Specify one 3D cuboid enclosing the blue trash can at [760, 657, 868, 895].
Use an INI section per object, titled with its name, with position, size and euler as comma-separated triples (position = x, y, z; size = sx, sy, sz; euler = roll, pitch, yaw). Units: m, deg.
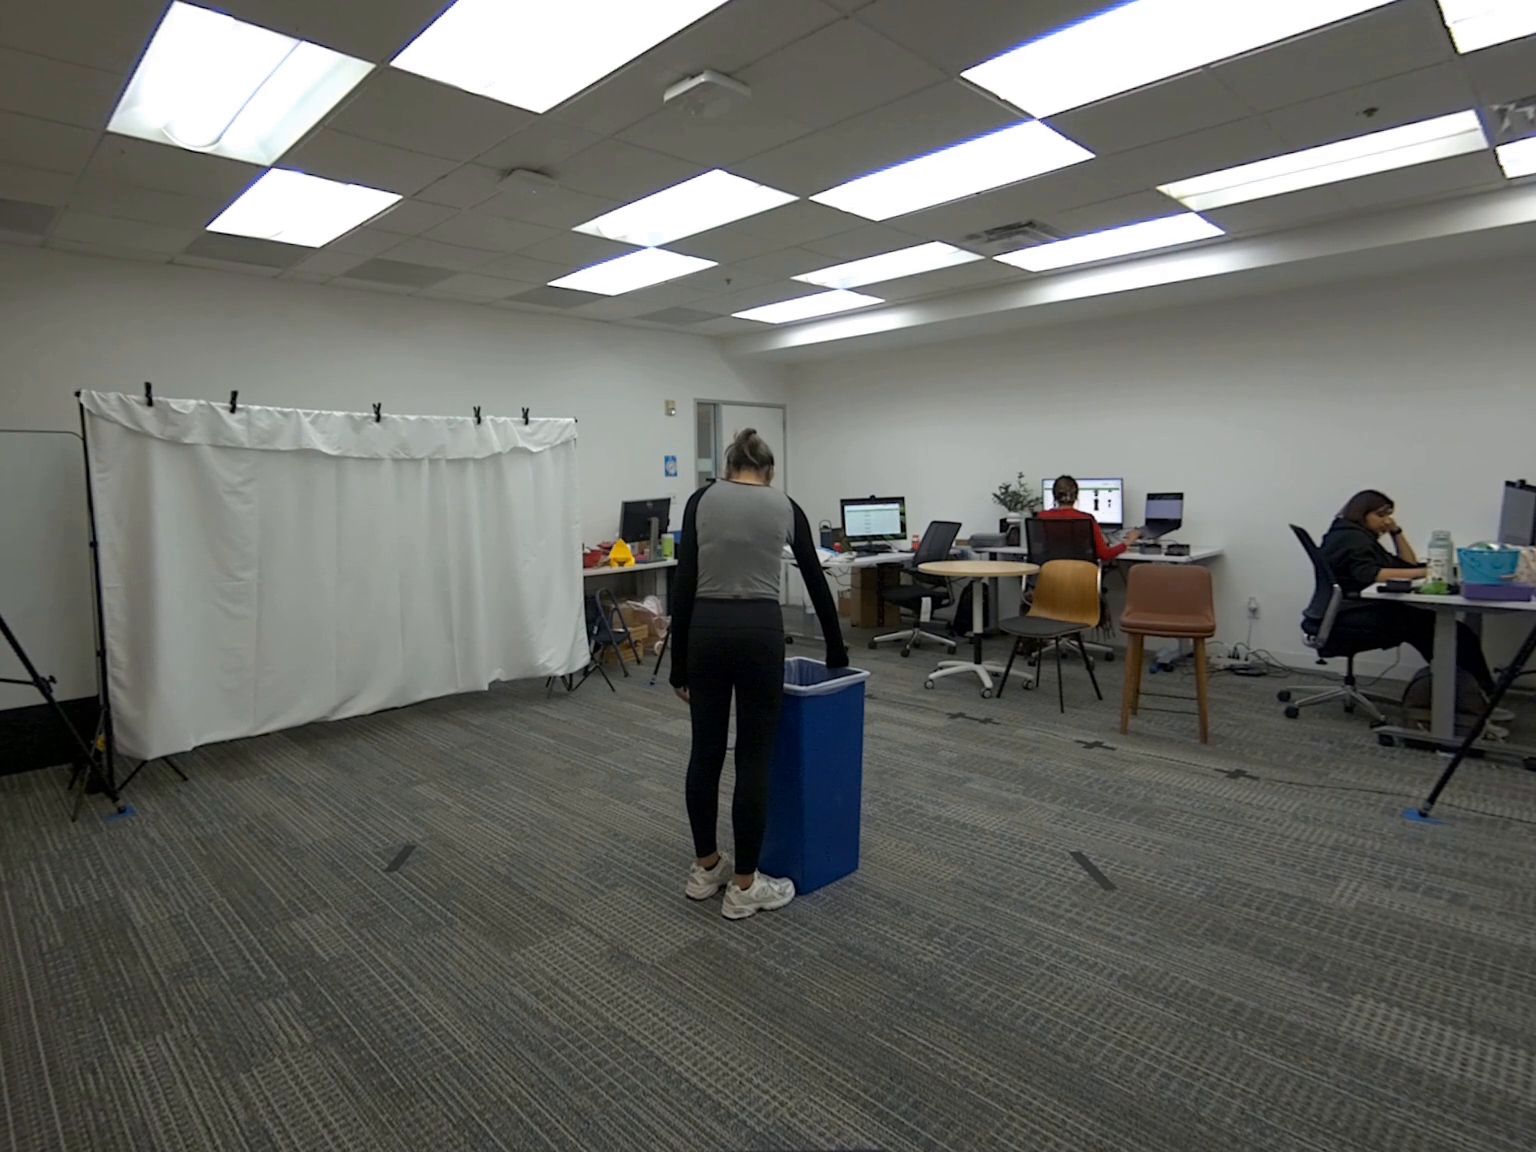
[blue trash can]
position = 0.125, 0.691, 3.031
size = 0.368, 0.711, 0.385
euler = -5, 5, -44
